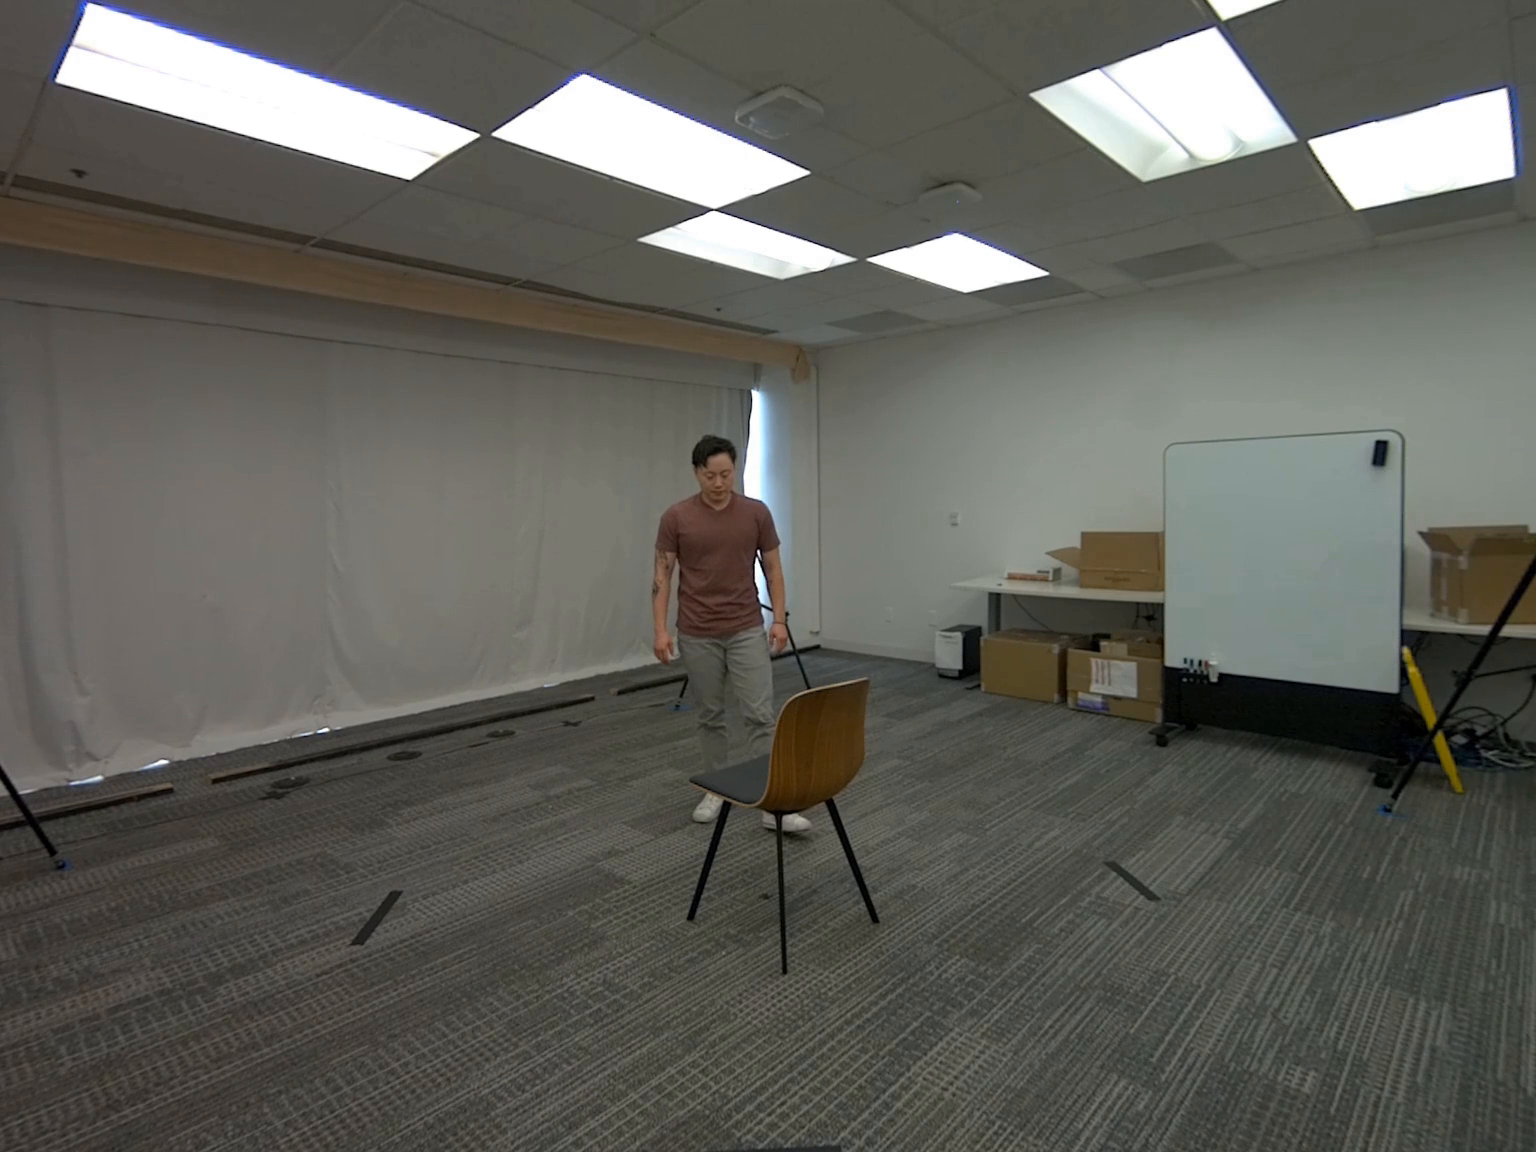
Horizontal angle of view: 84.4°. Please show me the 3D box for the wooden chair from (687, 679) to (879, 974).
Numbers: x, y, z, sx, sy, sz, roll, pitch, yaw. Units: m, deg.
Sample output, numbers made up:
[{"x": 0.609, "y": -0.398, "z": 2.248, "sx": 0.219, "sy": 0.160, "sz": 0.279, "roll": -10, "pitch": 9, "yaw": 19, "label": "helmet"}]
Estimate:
[{"x": 0.037, "y": 0.719, "z": 2.788, "sx": 0.464, "sy": 0.873, "sz": 0.541, "roll": -5, "pitch": 10, "yaw": -43, "label": "wooden chair"}]
